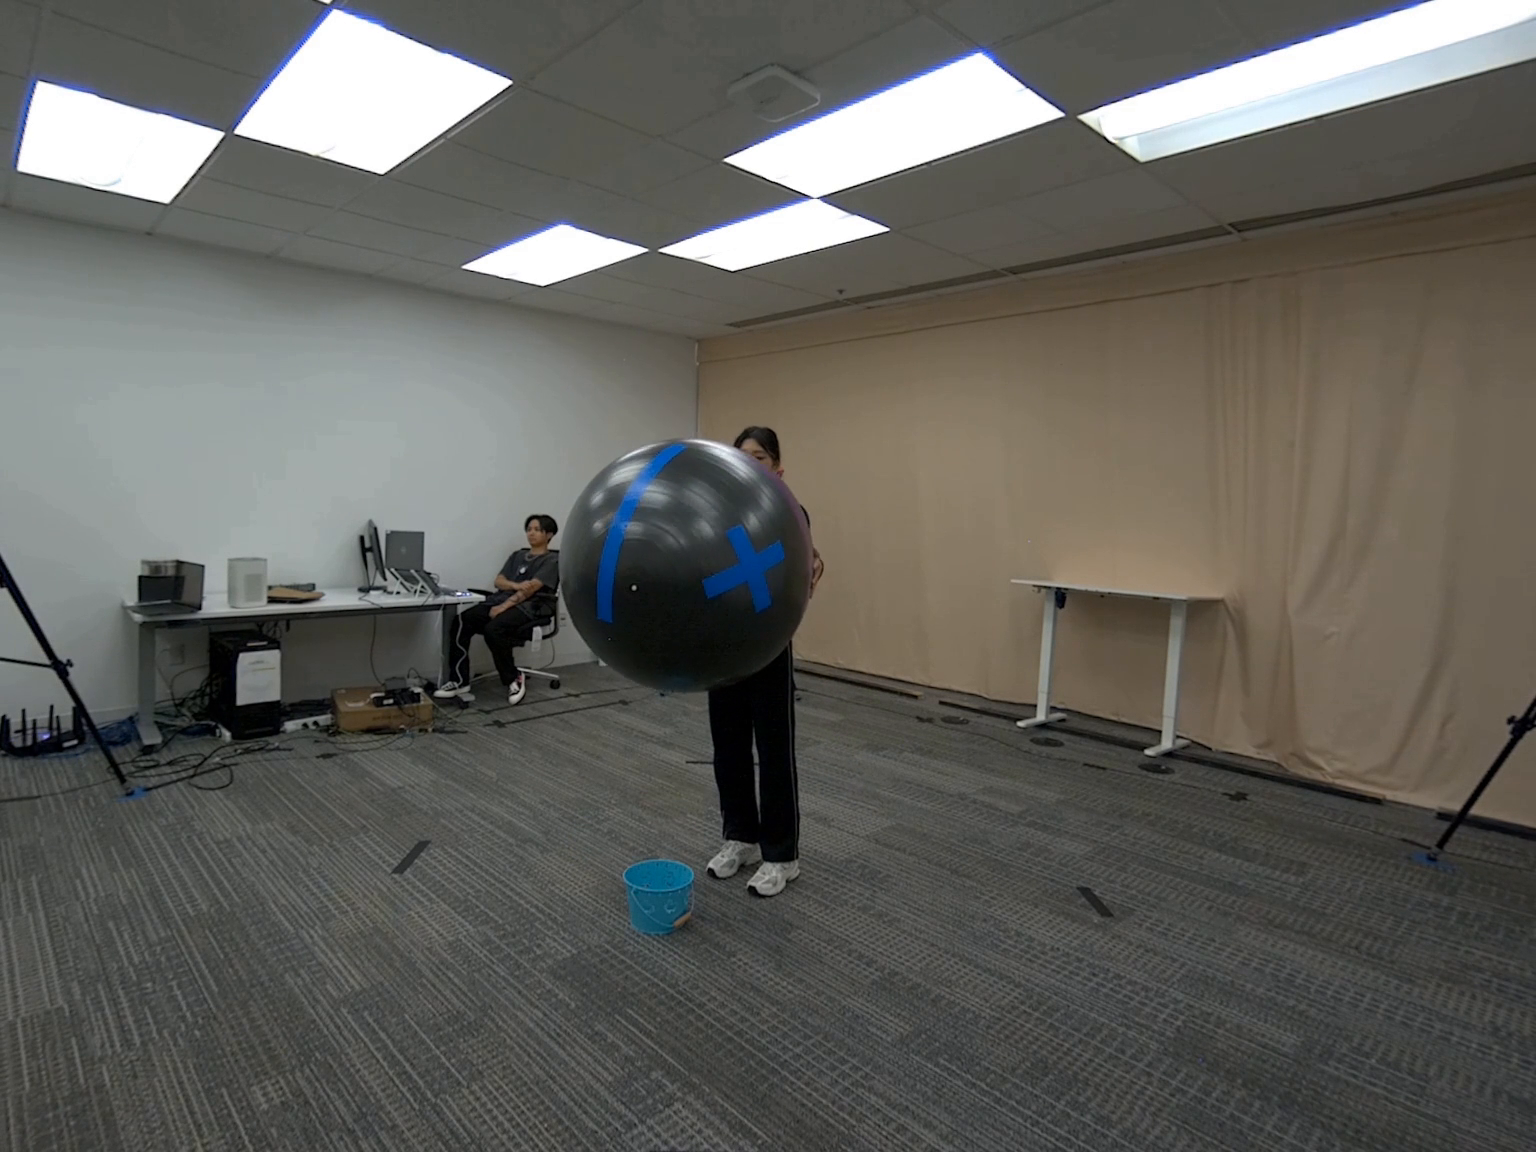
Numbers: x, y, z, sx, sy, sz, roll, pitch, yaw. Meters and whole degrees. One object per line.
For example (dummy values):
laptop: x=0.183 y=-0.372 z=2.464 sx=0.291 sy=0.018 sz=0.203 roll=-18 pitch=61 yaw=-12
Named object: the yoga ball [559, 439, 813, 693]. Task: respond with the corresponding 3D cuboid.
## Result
yoga ball: x=-0.247 y=-0.015 z=2.511 sx=0.757 sy=0.756 sz=0.761 roll=1 pitch=4 yaw=-1
